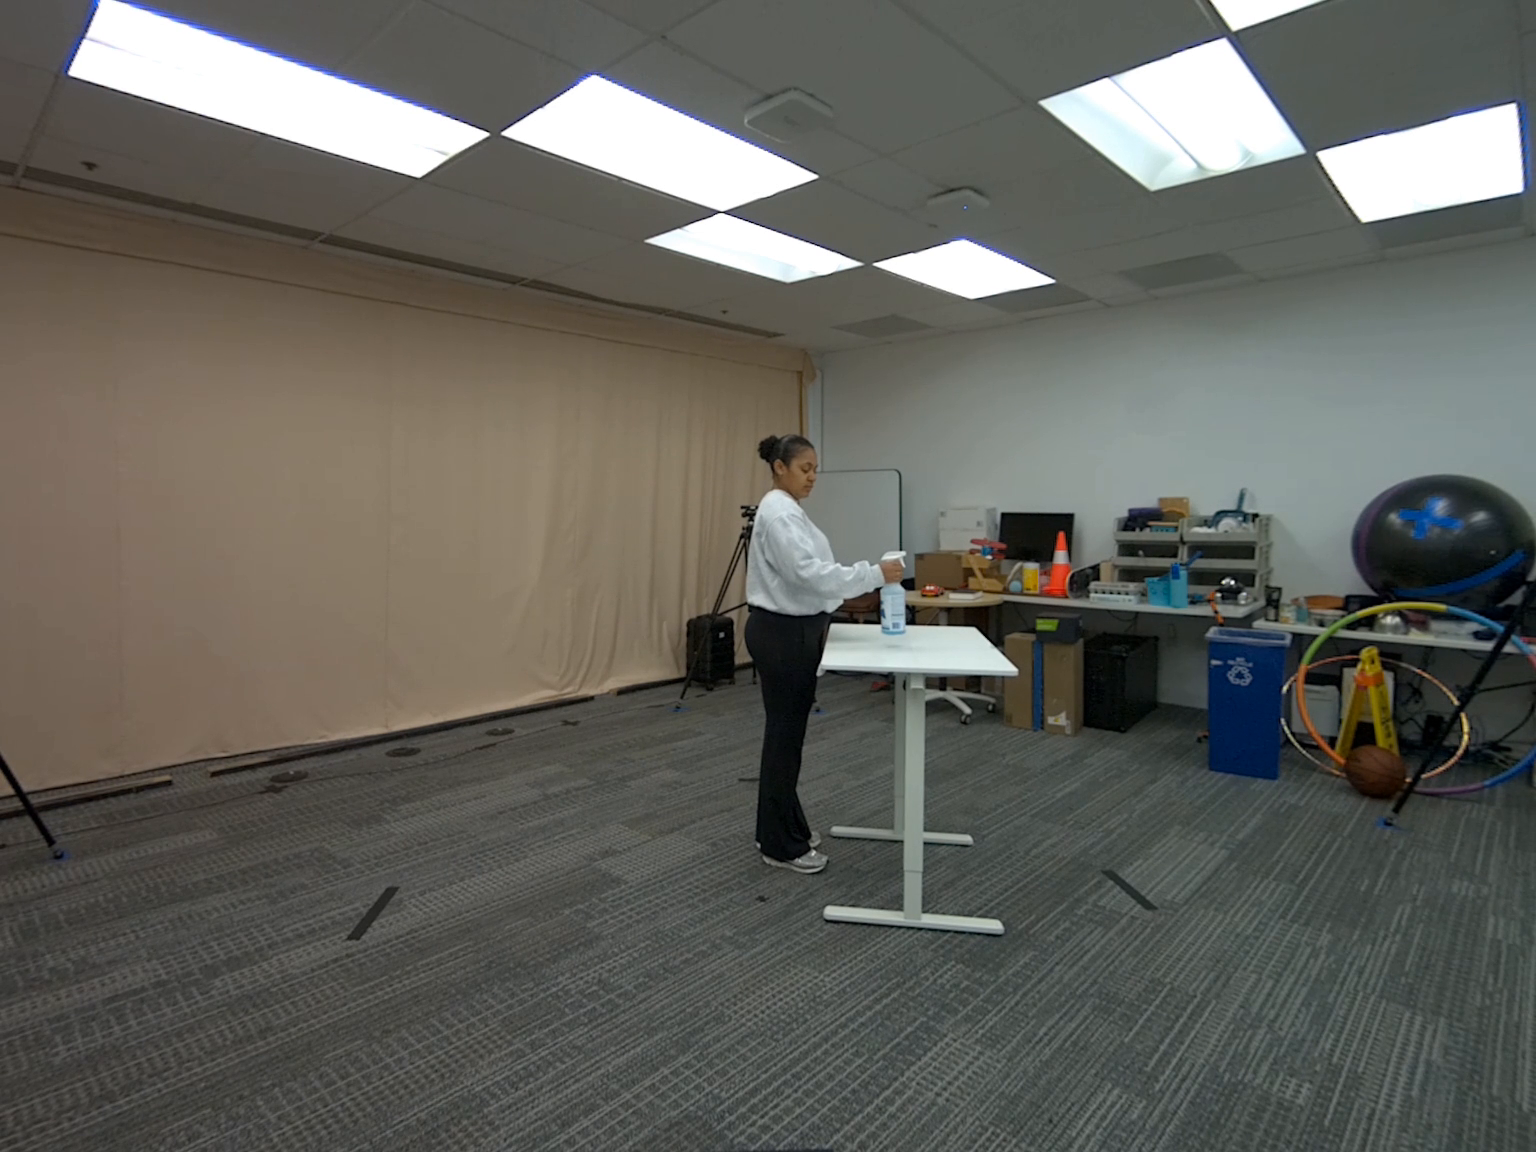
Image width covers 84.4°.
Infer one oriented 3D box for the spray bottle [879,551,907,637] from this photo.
[{"bbox_3d":[0.446,0.058,3.025,0.085,0.297,0.093,-3,4,-32],"label":"spray bottle"}]
